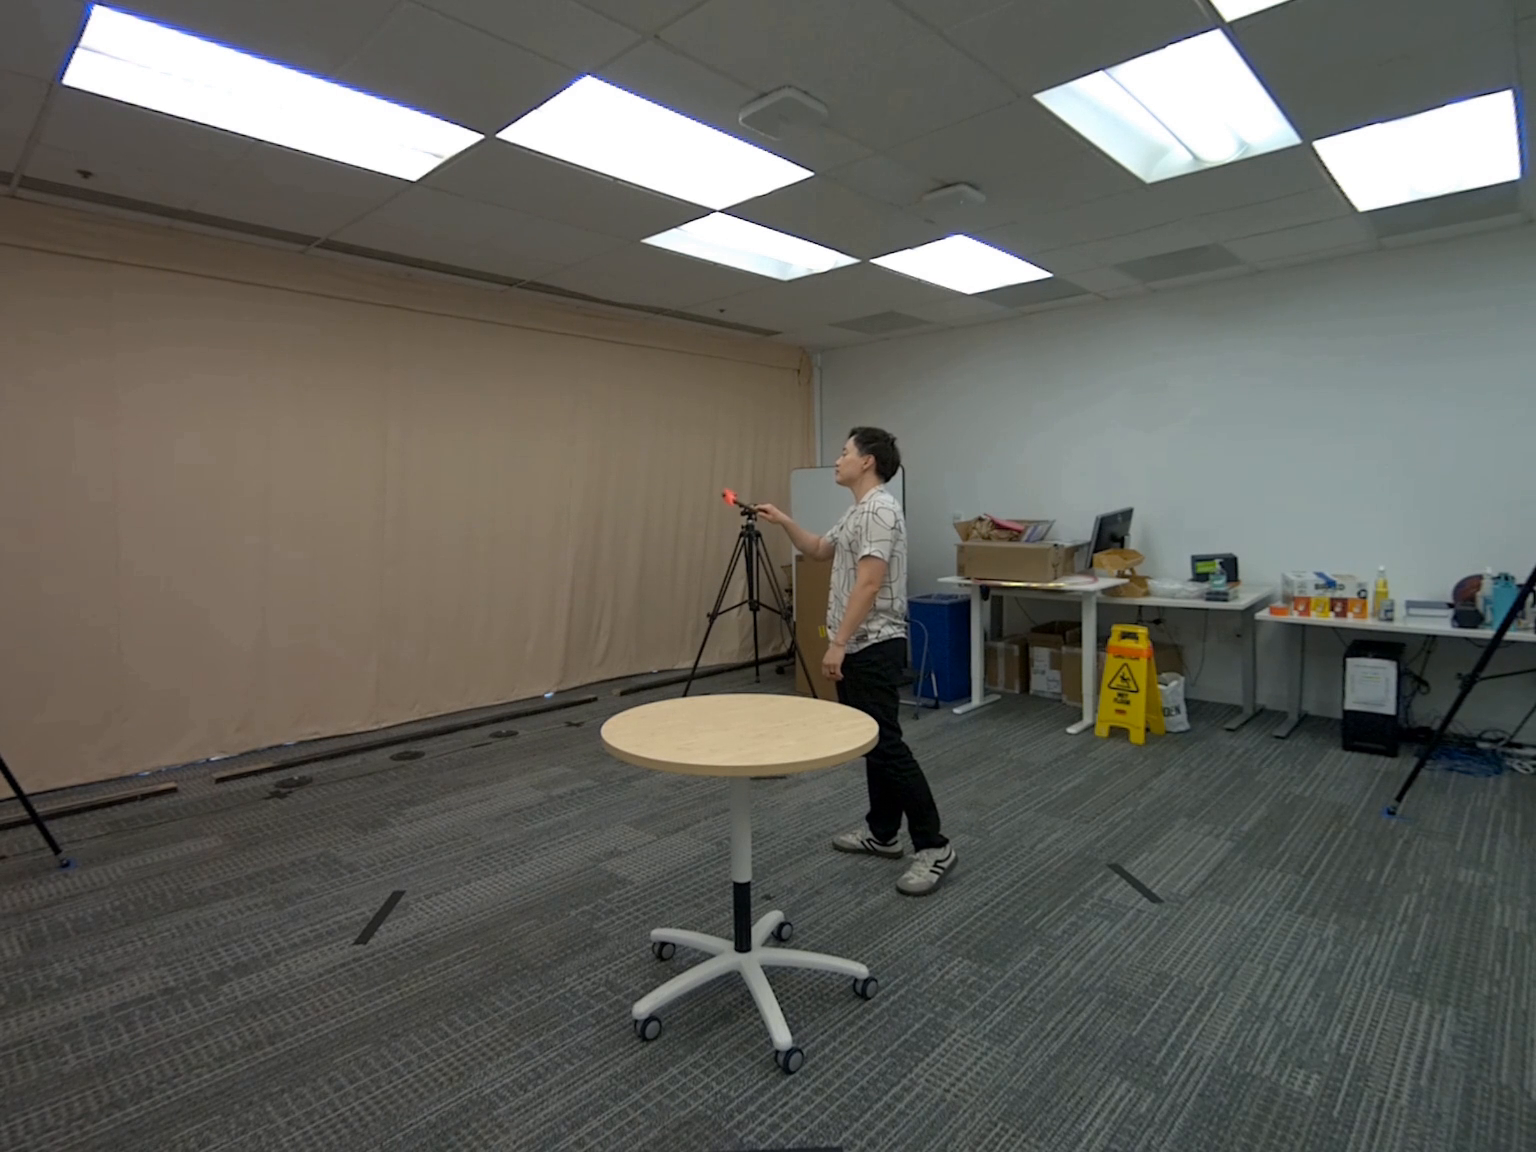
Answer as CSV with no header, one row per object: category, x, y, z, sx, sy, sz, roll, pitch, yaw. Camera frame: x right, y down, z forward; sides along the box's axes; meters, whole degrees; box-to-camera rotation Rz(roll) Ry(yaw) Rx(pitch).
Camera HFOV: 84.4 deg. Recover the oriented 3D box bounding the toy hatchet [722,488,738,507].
toy hatchet,-0.087,-0.304,3.482,0.260,0.030,0.135,14,32,-44
